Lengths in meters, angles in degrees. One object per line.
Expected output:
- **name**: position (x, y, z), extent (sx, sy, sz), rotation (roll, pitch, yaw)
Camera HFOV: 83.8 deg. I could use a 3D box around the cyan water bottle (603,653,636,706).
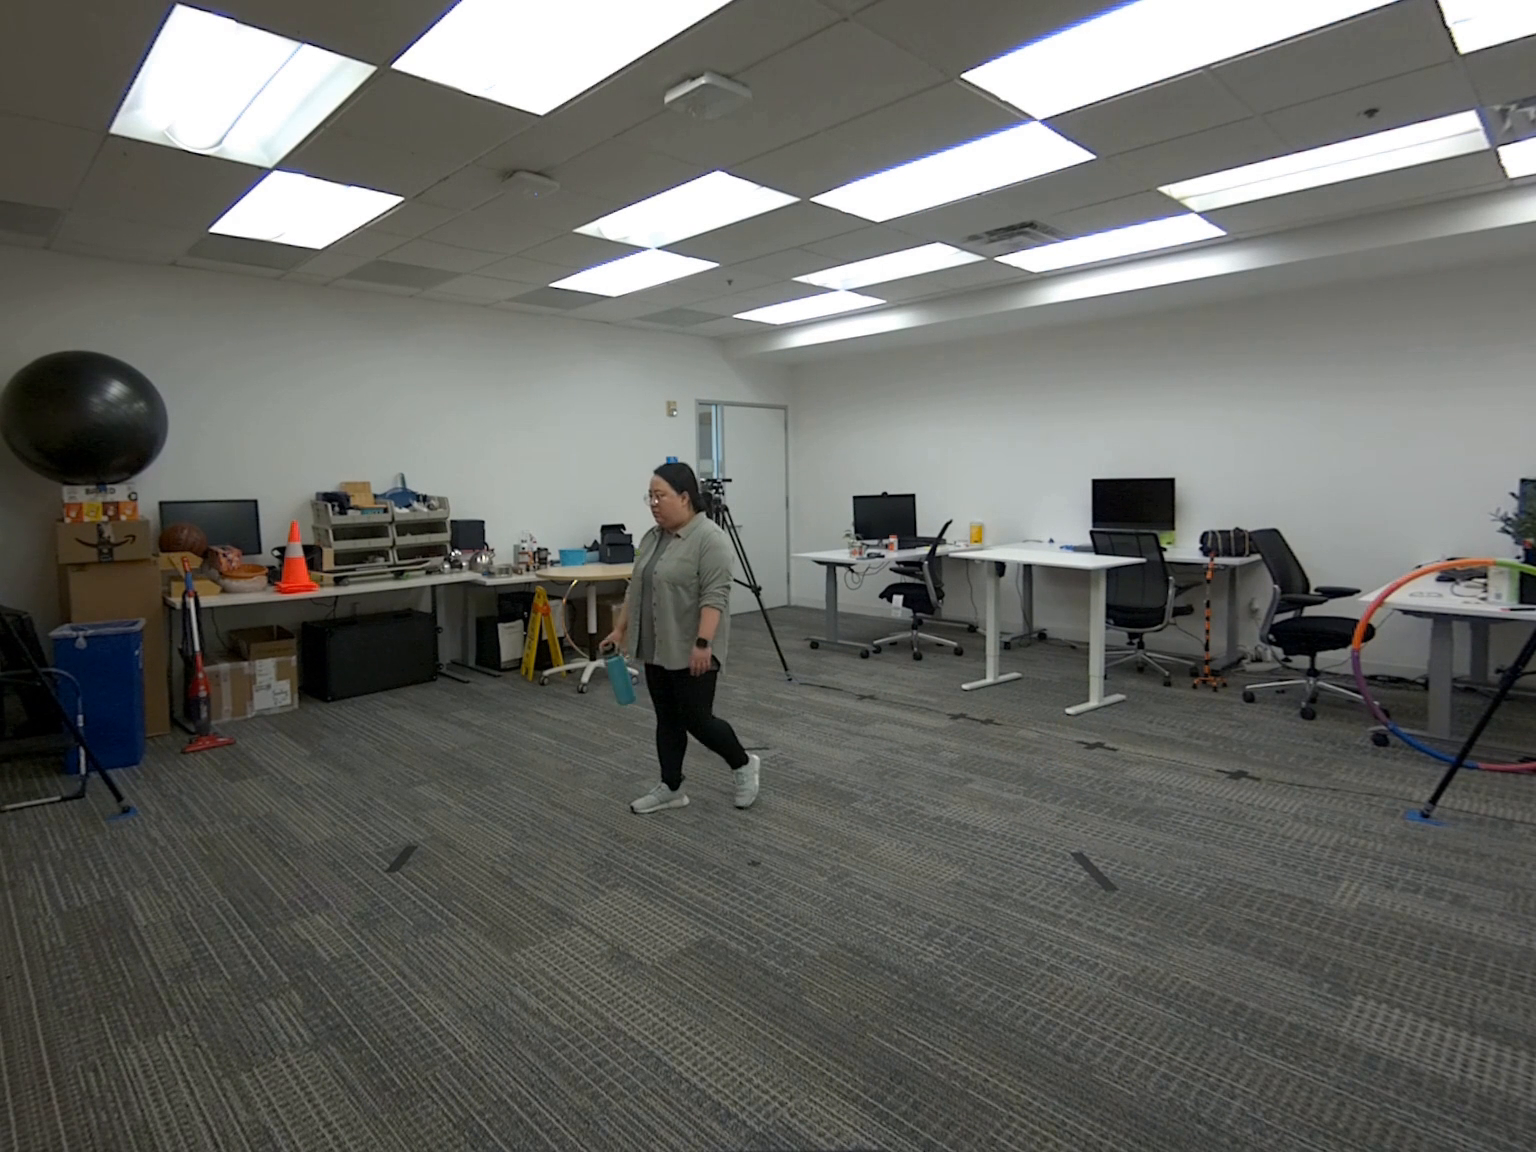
- **cyan water bottle**: position (-0.654, 0.427, 3.789), extent (0.092, 0.280, 0.093), rotation (-15, 12, 2)
